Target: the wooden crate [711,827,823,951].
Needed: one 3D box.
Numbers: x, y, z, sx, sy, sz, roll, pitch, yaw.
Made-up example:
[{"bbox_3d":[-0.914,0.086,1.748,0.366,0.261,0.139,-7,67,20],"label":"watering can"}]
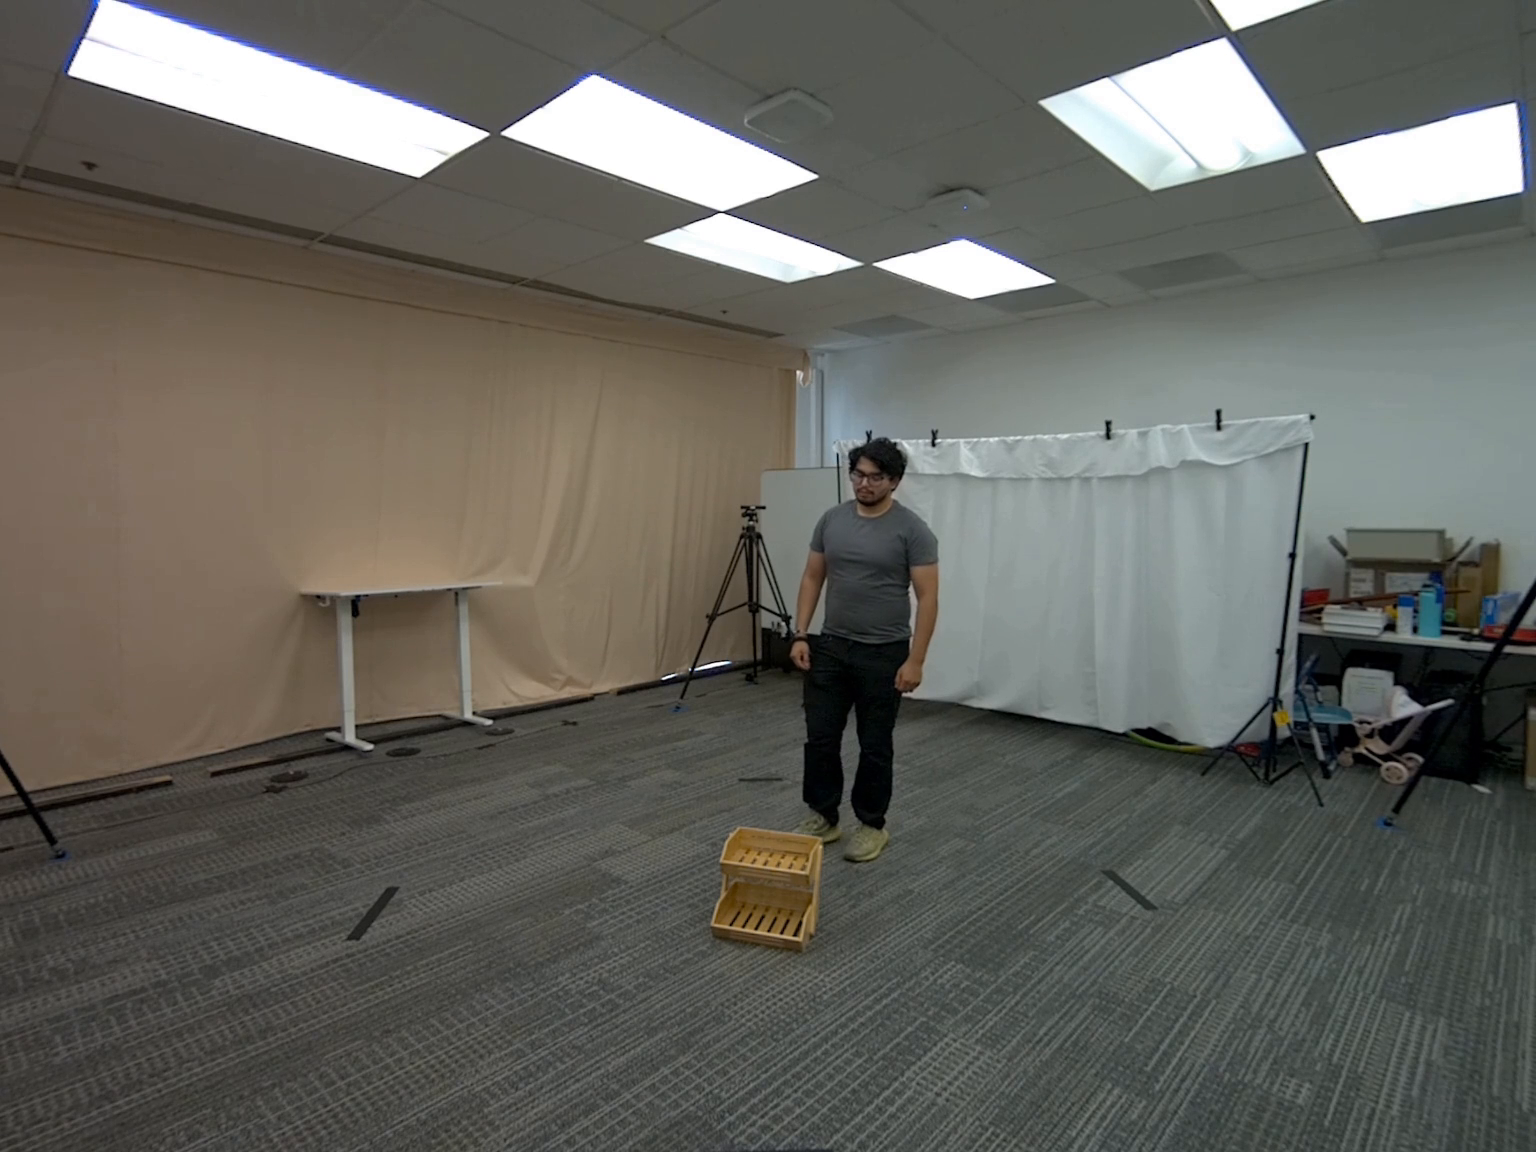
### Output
[{"bbox_3d":[0.006,1.029,2.778,0.330,0.273,0.297,1,4,17],"label":"wooden crate"}]
